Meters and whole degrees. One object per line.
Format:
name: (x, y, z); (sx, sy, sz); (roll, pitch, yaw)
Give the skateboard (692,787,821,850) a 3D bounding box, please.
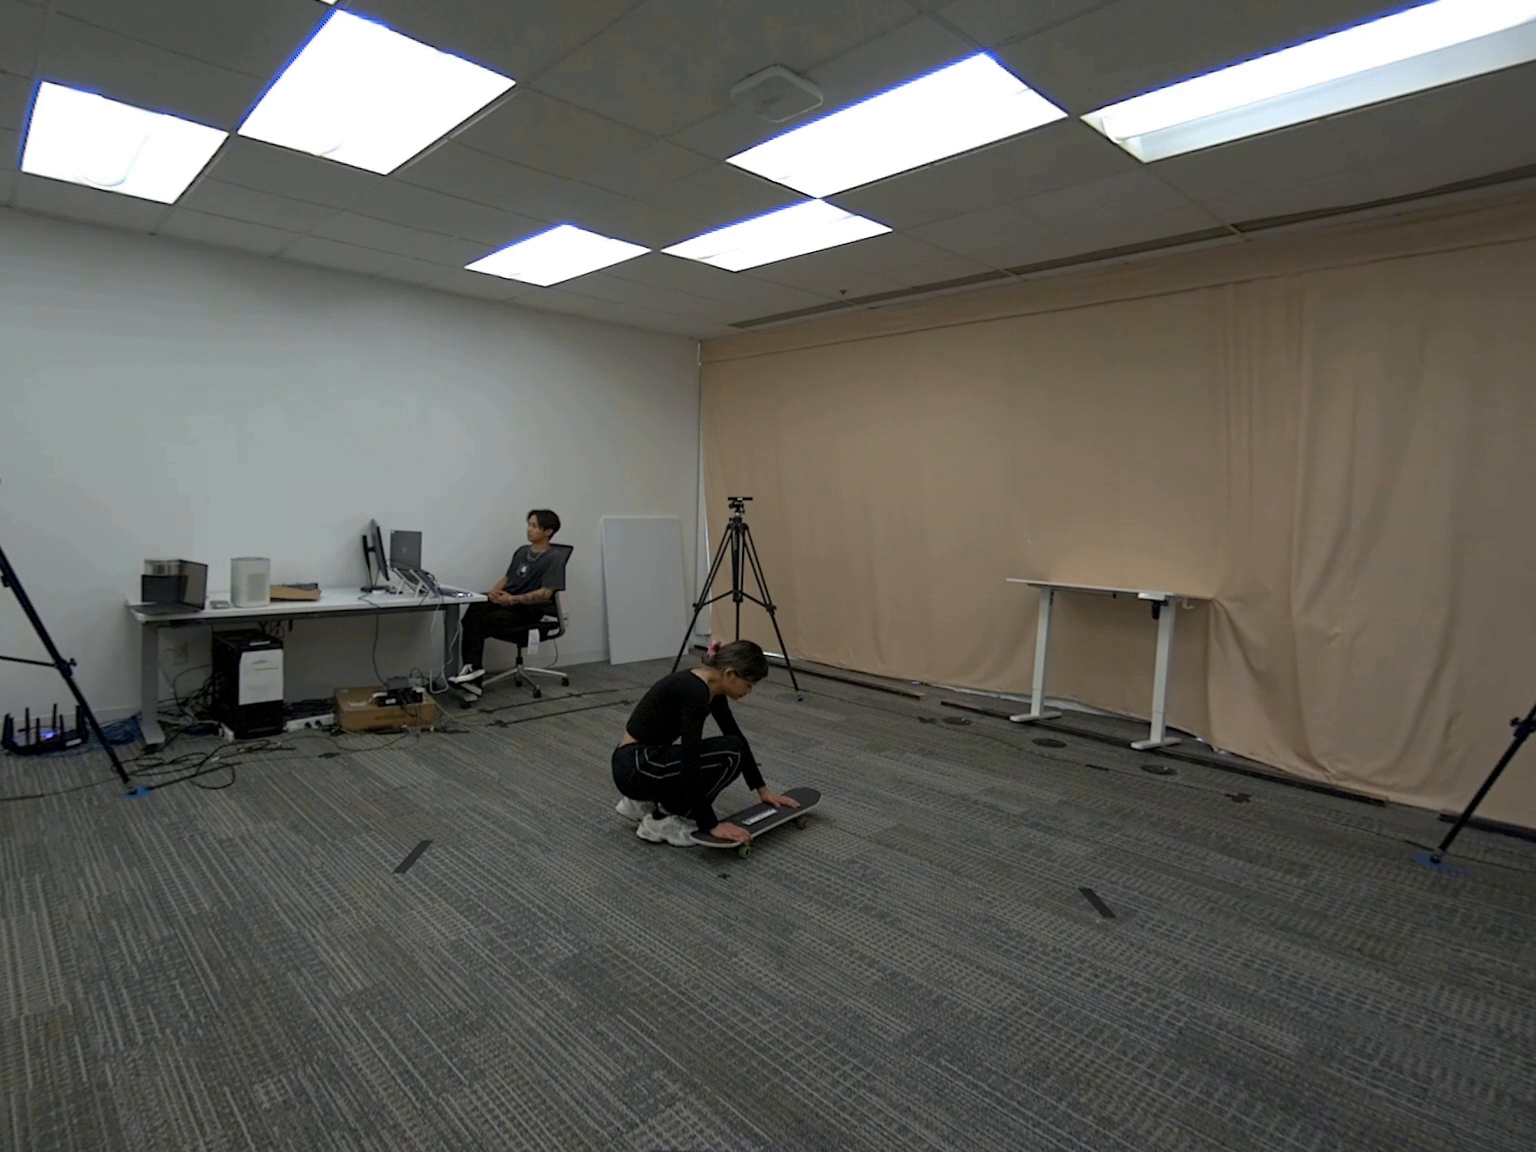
skateboard: (-0.046, 1.016, 3.459); (0.198, 0.110, 0.768); (4, 5, 36)
